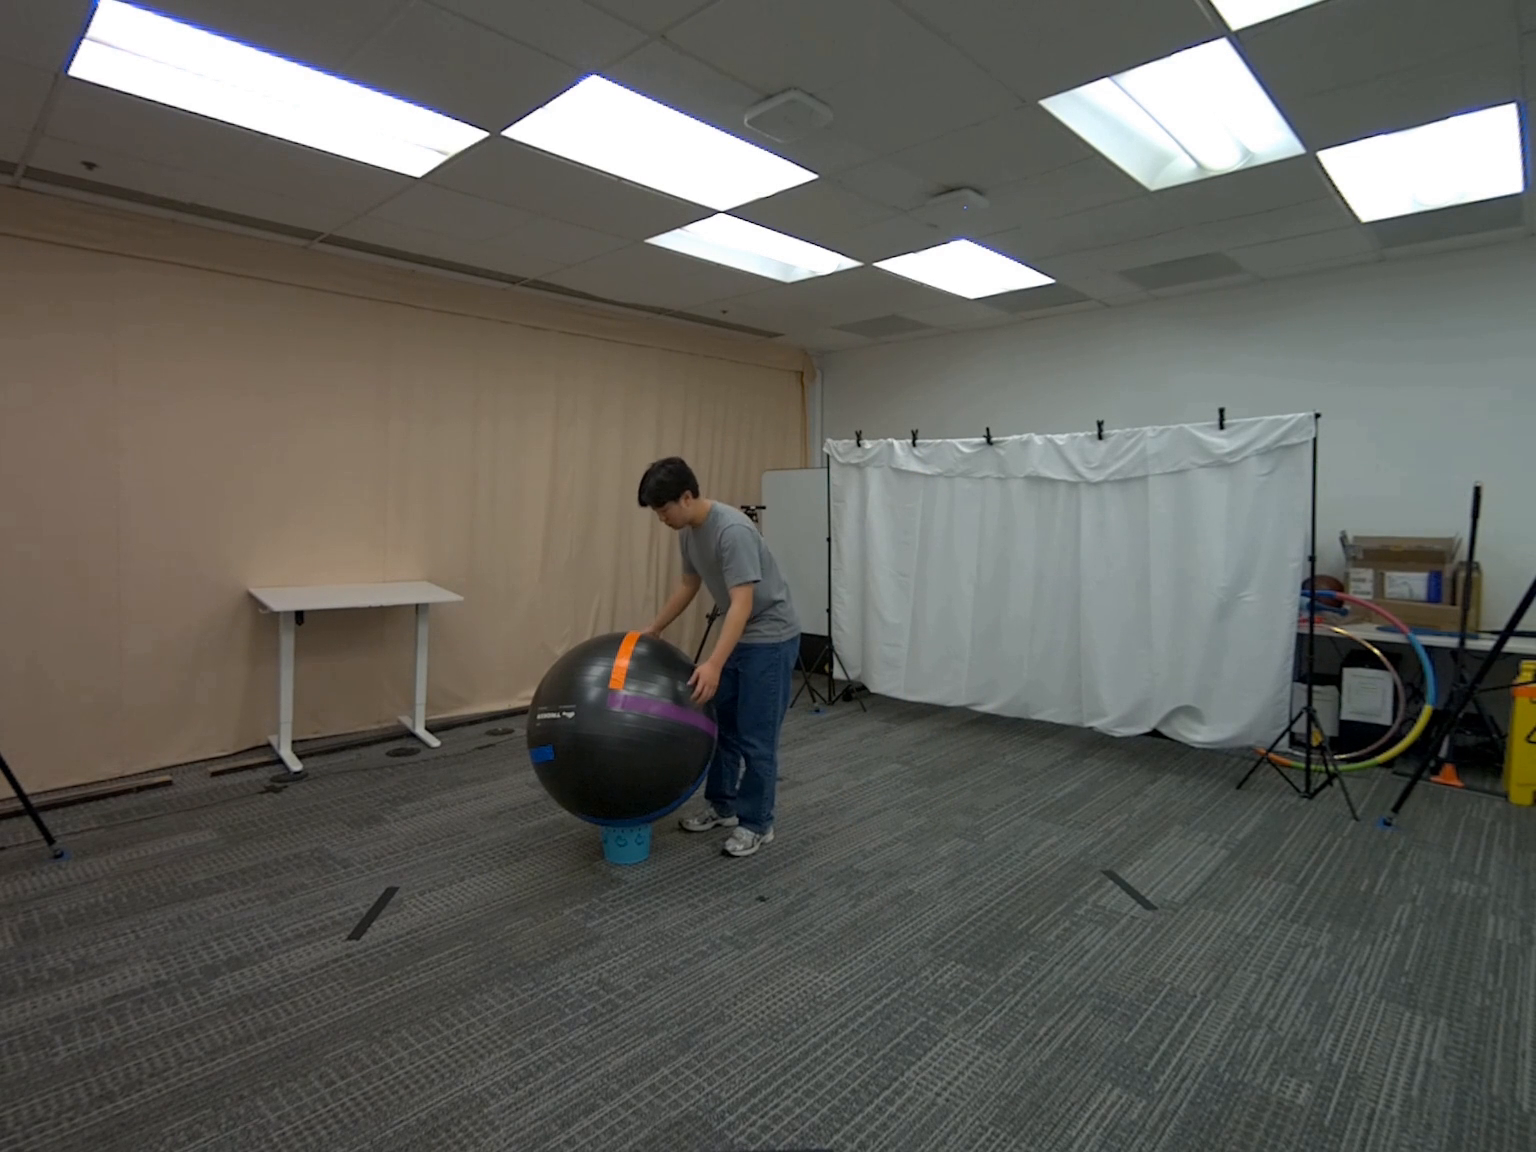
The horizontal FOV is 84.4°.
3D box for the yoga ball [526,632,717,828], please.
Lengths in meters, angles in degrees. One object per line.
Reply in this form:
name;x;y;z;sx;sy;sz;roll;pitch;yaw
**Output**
yoga ball;-0.593;0.609;3.363;0.757;0.756;0.761;0;4;-2
